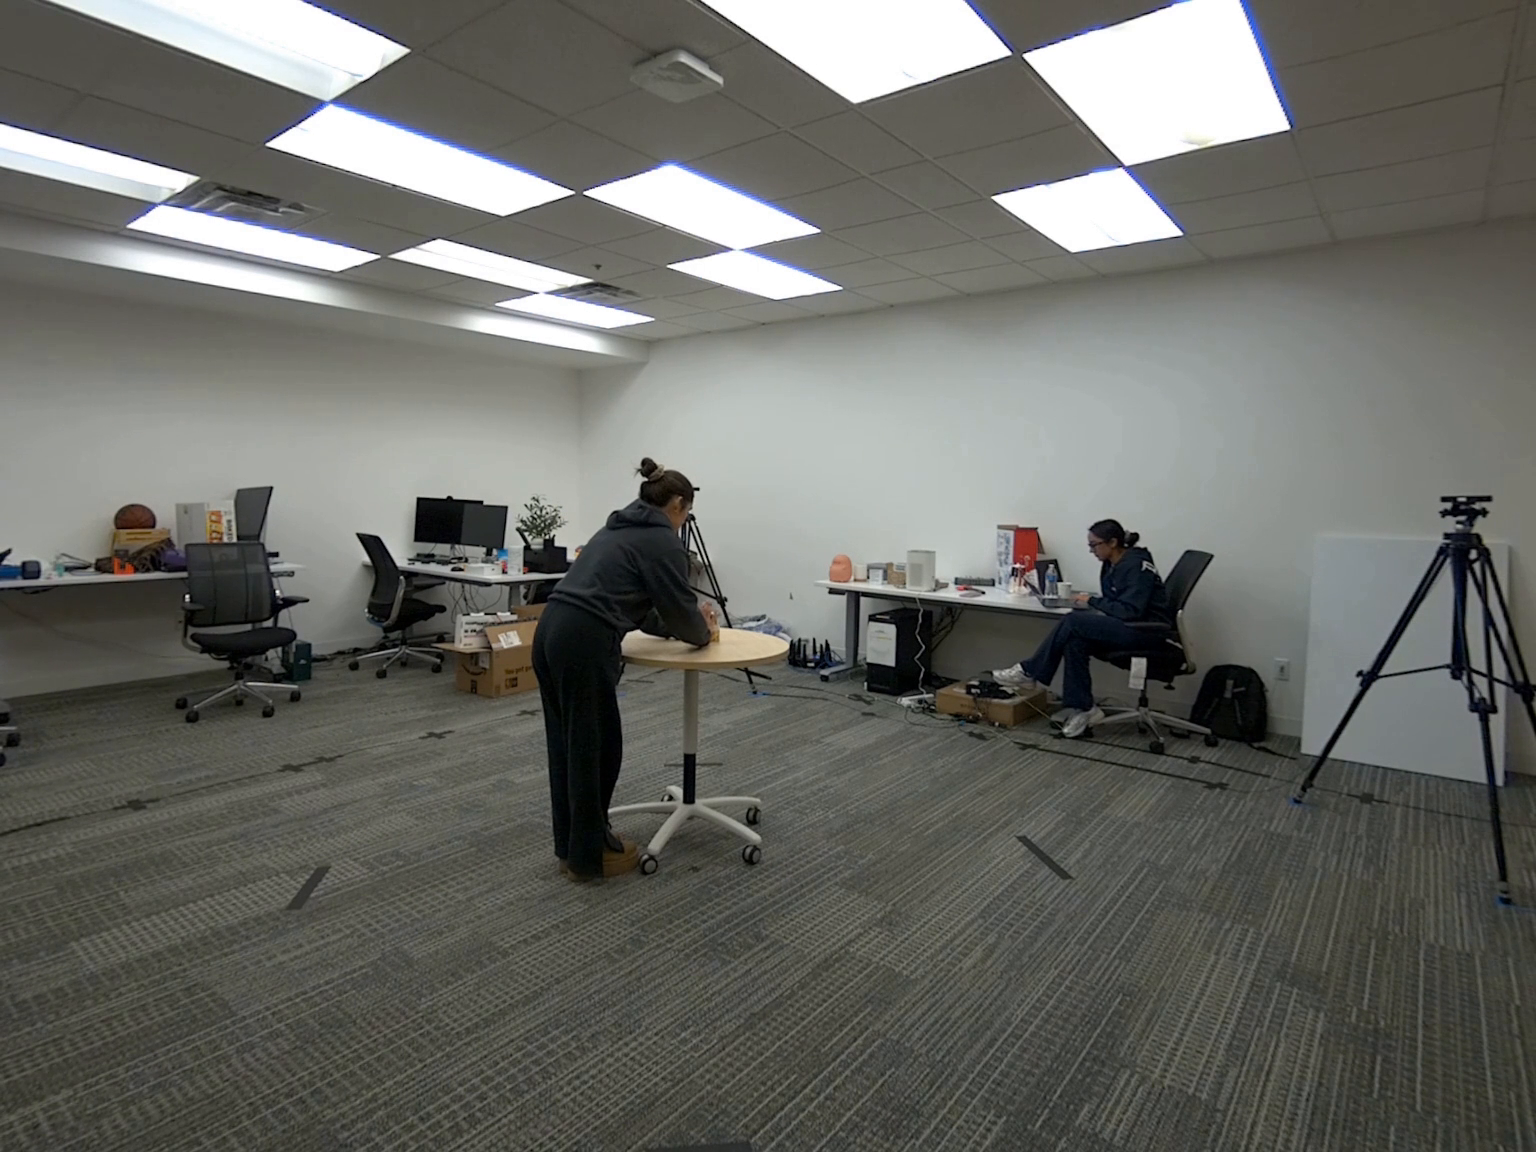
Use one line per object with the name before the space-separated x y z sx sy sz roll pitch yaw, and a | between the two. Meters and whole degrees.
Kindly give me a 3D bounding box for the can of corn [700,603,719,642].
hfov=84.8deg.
can of corn | -0.236 0.201 3.387 0.074 0.111 0.074 0 2 -2
